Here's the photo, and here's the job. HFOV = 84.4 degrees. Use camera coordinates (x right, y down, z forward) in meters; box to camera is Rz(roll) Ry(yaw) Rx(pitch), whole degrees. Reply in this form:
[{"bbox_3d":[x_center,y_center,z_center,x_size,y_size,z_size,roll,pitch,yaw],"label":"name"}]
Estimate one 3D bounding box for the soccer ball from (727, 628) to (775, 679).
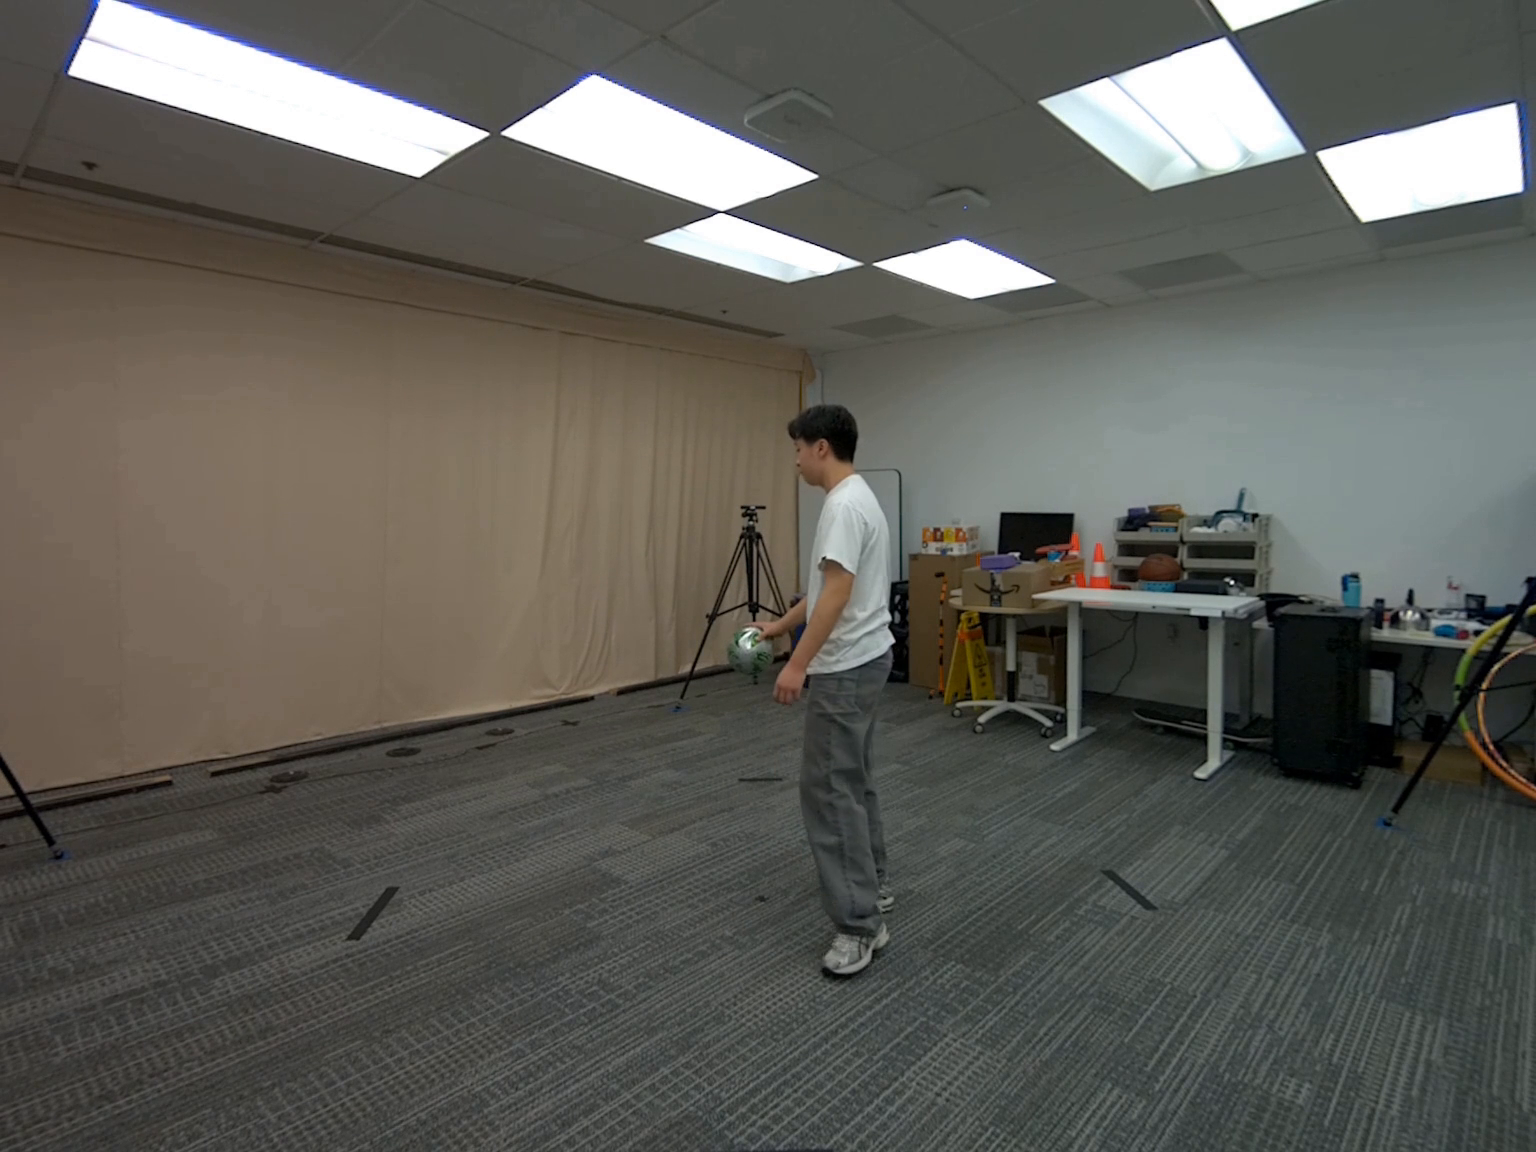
[{"bbox_3d":[-0.056,0.298,3.249,0.187,0.187,0.188,0,4,-2],"label":"soccer ball"}]
